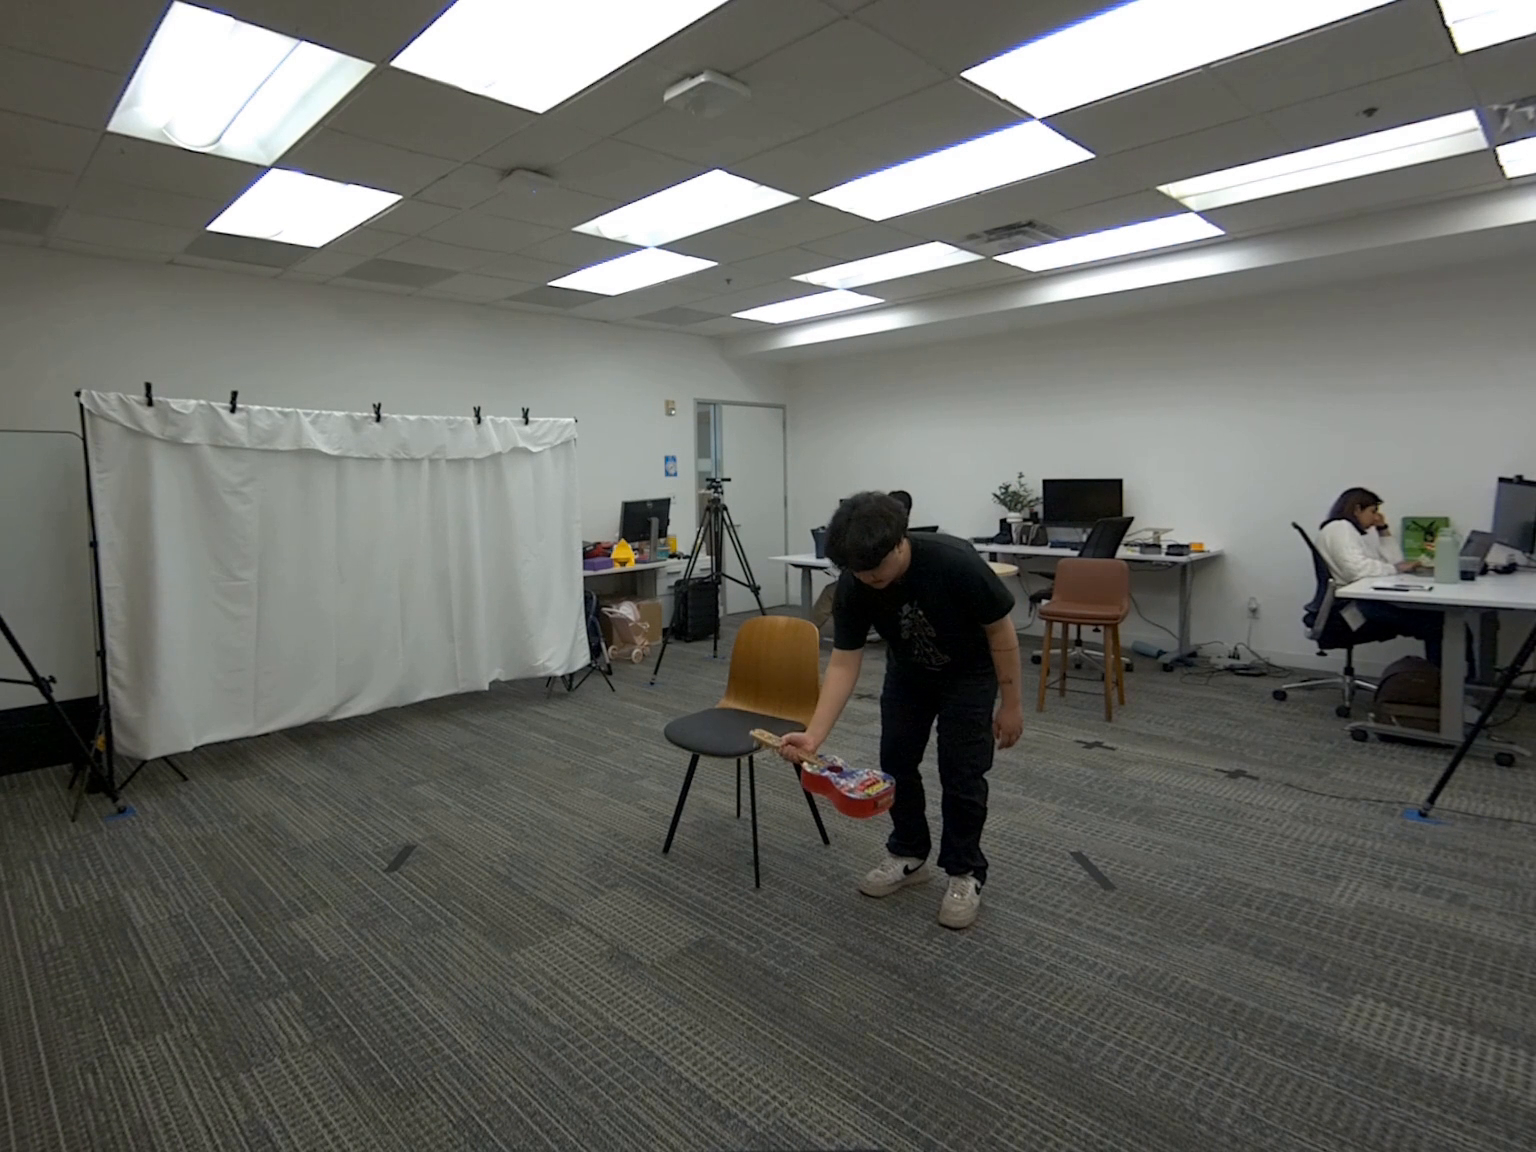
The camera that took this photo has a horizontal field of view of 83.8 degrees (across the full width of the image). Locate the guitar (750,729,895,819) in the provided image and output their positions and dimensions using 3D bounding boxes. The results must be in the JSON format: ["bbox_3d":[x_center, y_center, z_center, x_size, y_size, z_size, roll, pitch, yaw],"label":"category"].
[{"bbox_3d":[0.162,0.564,2.545,0.188,0.070,0.516,-9,18,-37],"label":"guitar"}]
